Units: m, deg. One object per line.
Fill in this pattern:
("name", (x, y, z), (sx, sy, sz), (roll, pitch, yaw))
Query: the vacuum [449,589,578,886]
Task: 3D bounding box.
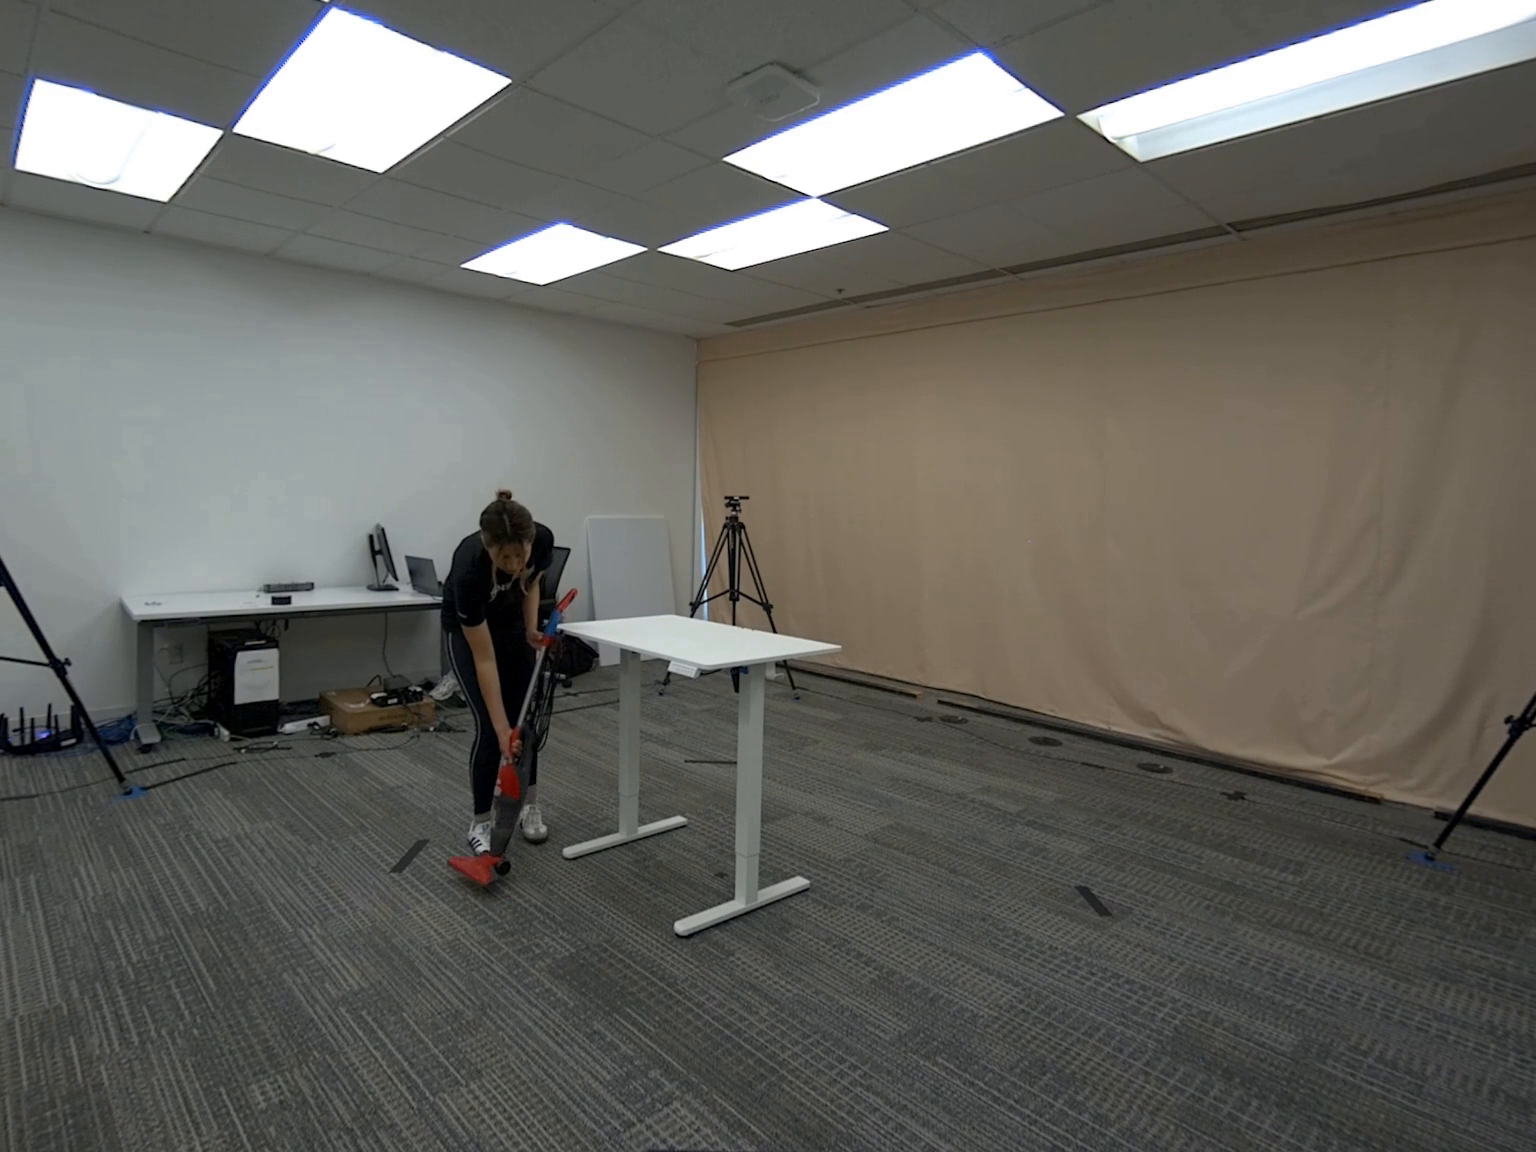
("vacuum", (-0.897, 0.559, 3.080), (0.259, 1.055, 0.139), (3, -16, 43))
